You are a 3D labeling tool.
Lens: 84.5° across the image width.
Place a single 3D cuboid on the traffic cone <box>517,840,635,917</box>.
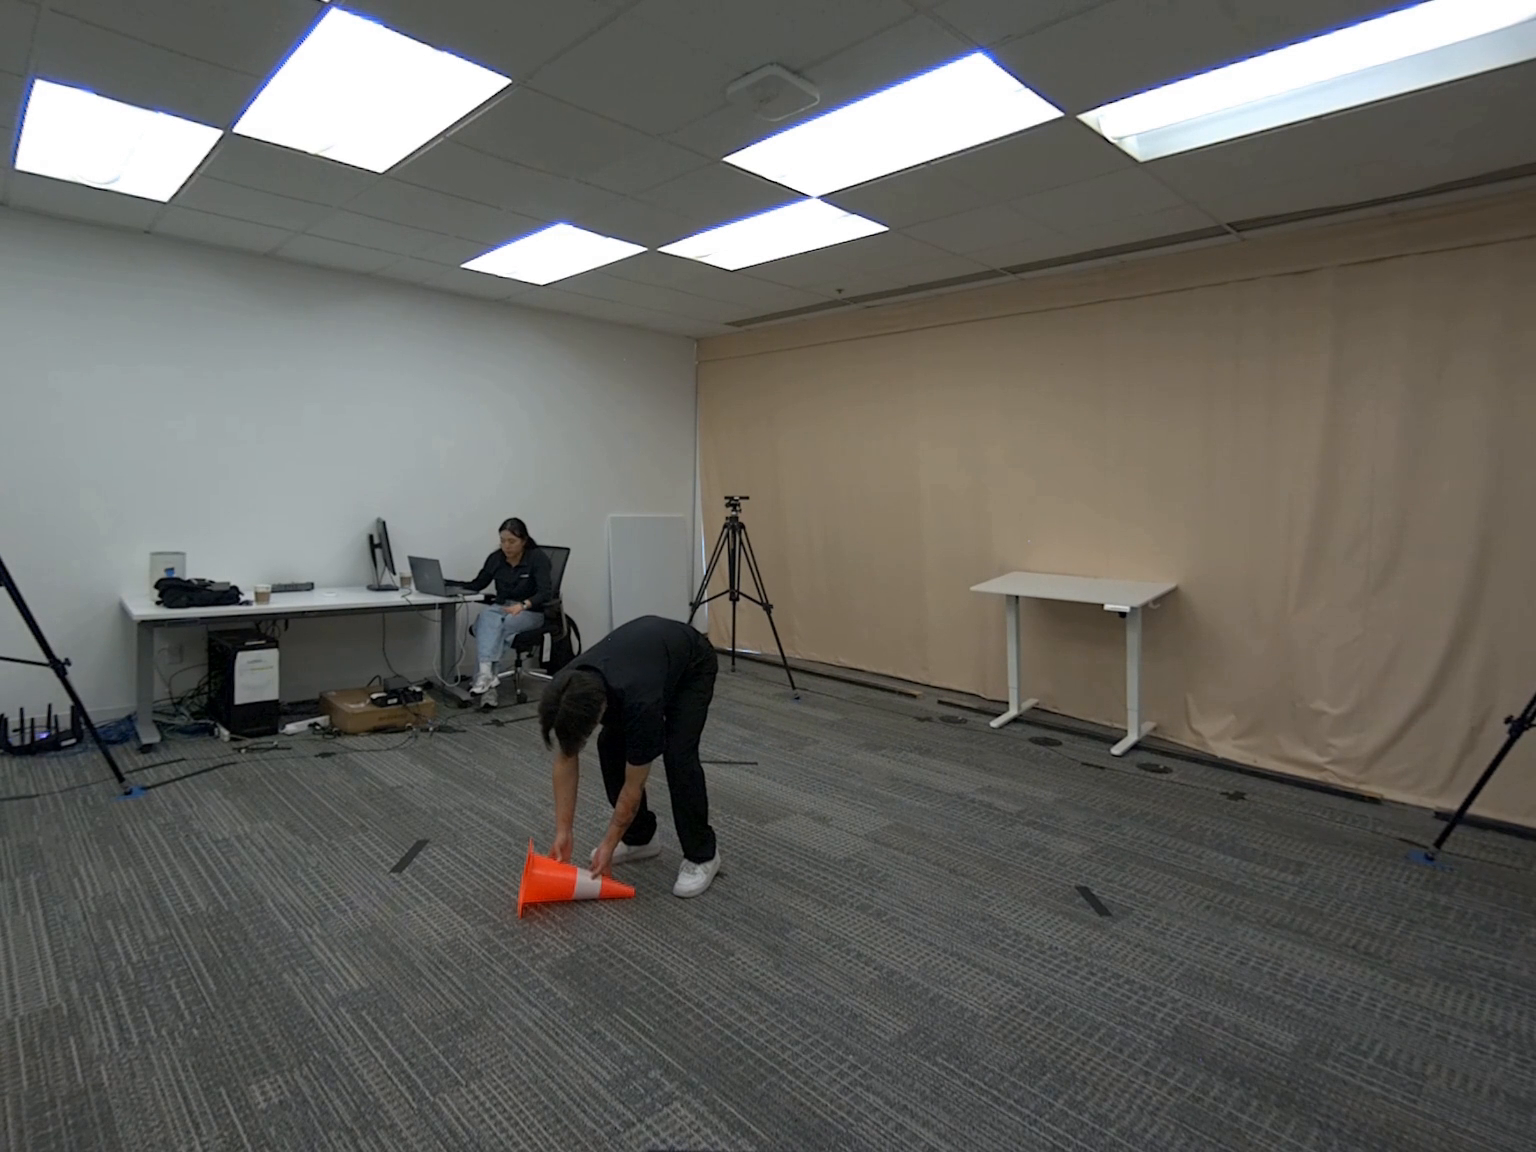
[{"bbox_3d":[-0.649,1.057,2.875,0.379,0.205,0.206,12,3,-14],"label":"traffic cone"}]
